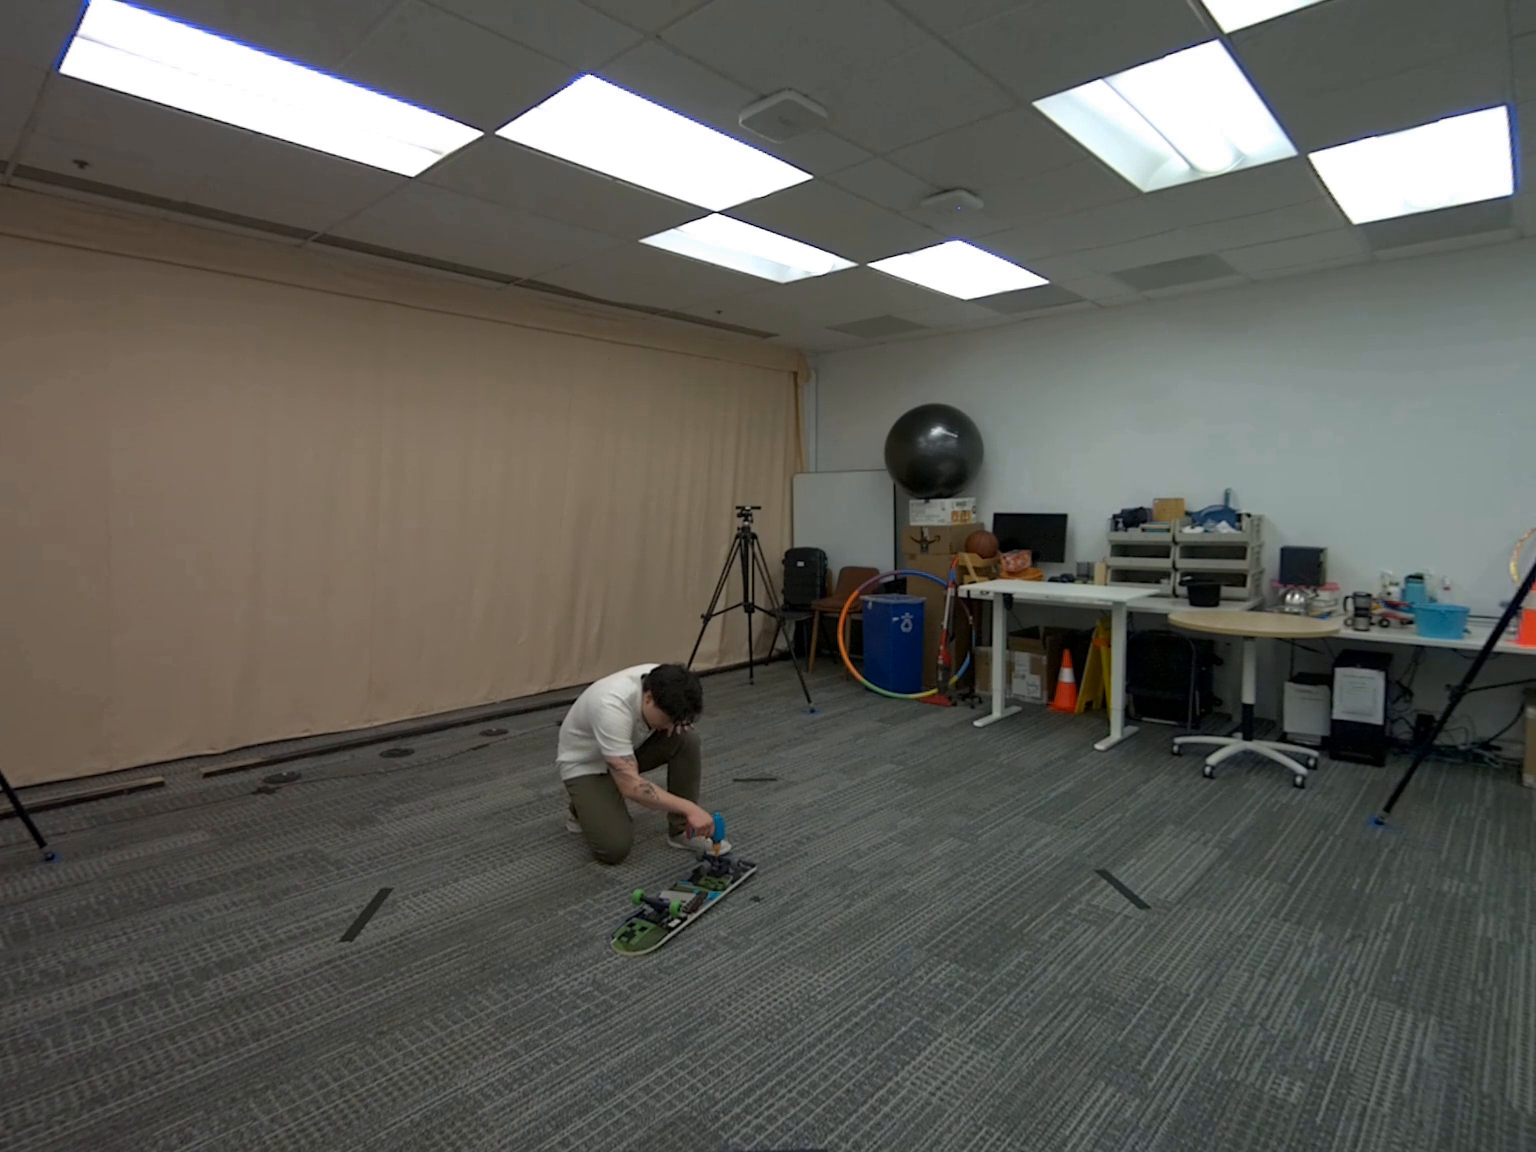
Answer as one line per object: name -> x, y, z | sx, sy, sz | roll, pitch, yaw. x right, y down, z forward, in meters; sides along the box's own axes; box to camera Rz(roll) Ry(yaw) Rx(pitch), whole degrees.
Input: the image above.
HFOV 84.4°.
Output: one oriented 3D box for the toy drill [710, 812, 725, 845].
toy drill -> -0.227, 0.957, 3.091 | 0.144, 0.168, 0.062 | -2, 16, -13
